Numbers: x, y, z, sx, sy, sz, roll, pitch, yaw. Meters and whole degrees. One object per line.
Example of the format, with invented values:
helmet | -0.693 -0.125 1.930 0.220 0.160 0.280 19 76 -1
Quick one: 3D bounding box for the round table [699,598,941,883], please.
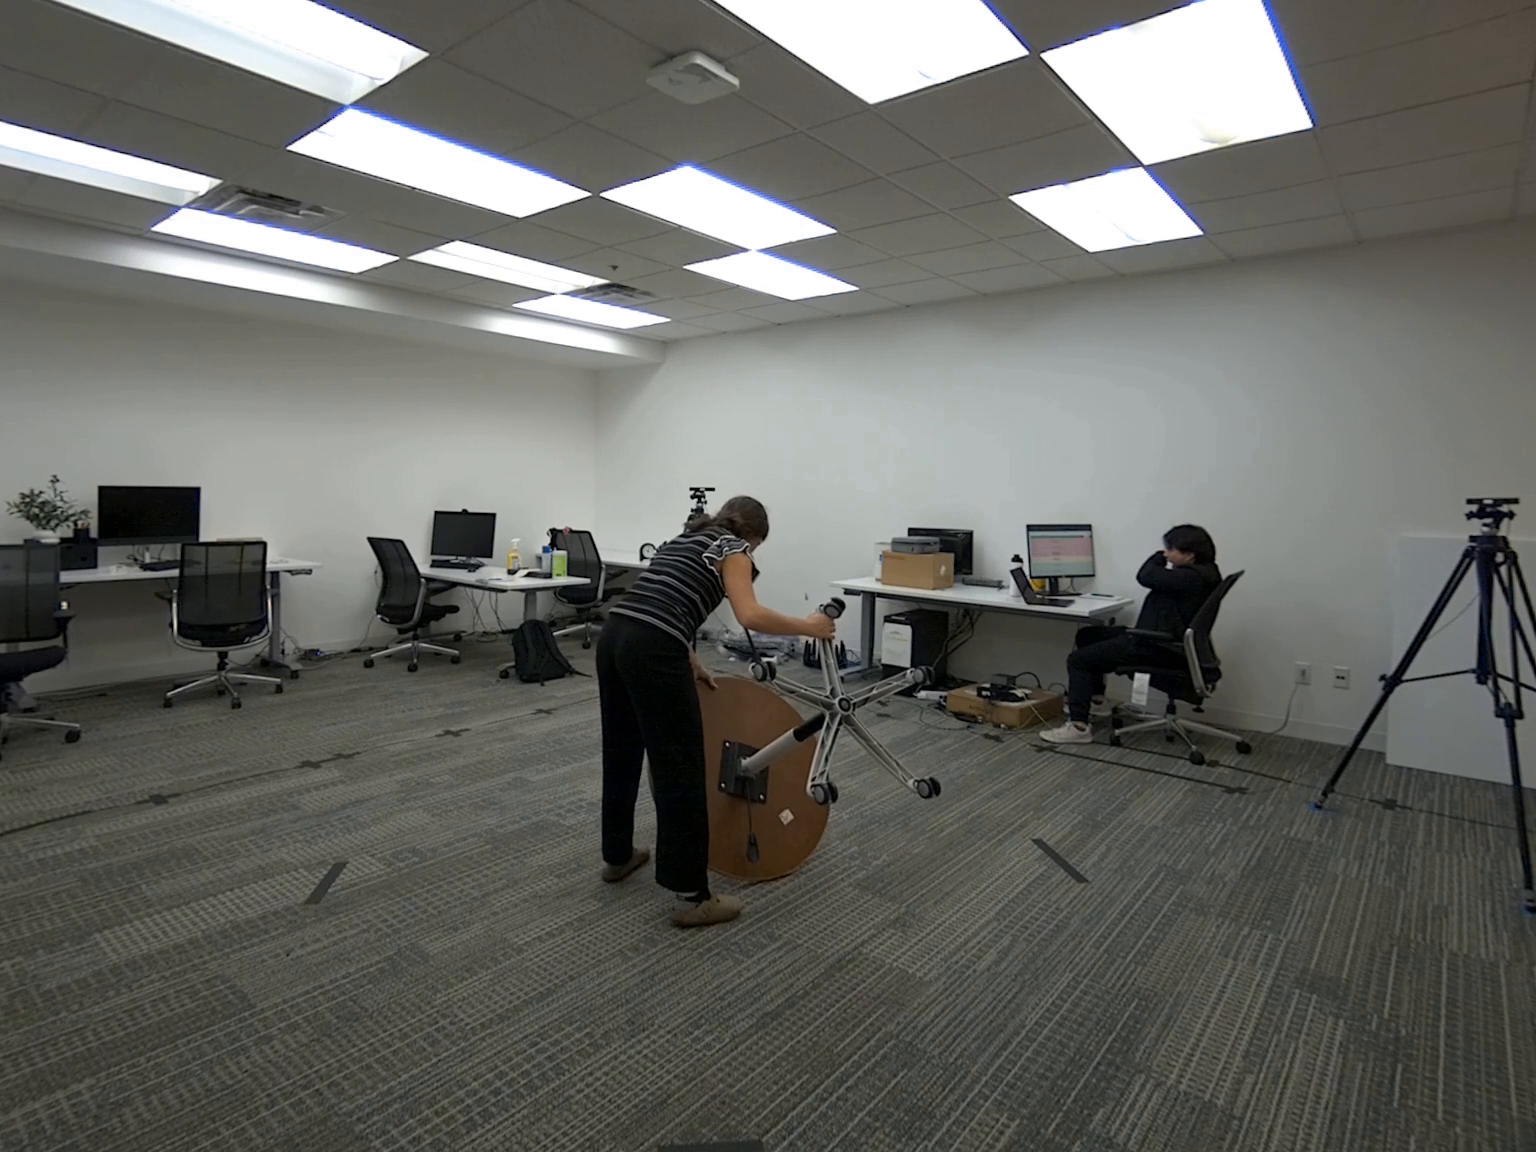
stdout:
round table | 0.091 0.556 2.926 0.742 0.786 0.794 -2 -29 -34
